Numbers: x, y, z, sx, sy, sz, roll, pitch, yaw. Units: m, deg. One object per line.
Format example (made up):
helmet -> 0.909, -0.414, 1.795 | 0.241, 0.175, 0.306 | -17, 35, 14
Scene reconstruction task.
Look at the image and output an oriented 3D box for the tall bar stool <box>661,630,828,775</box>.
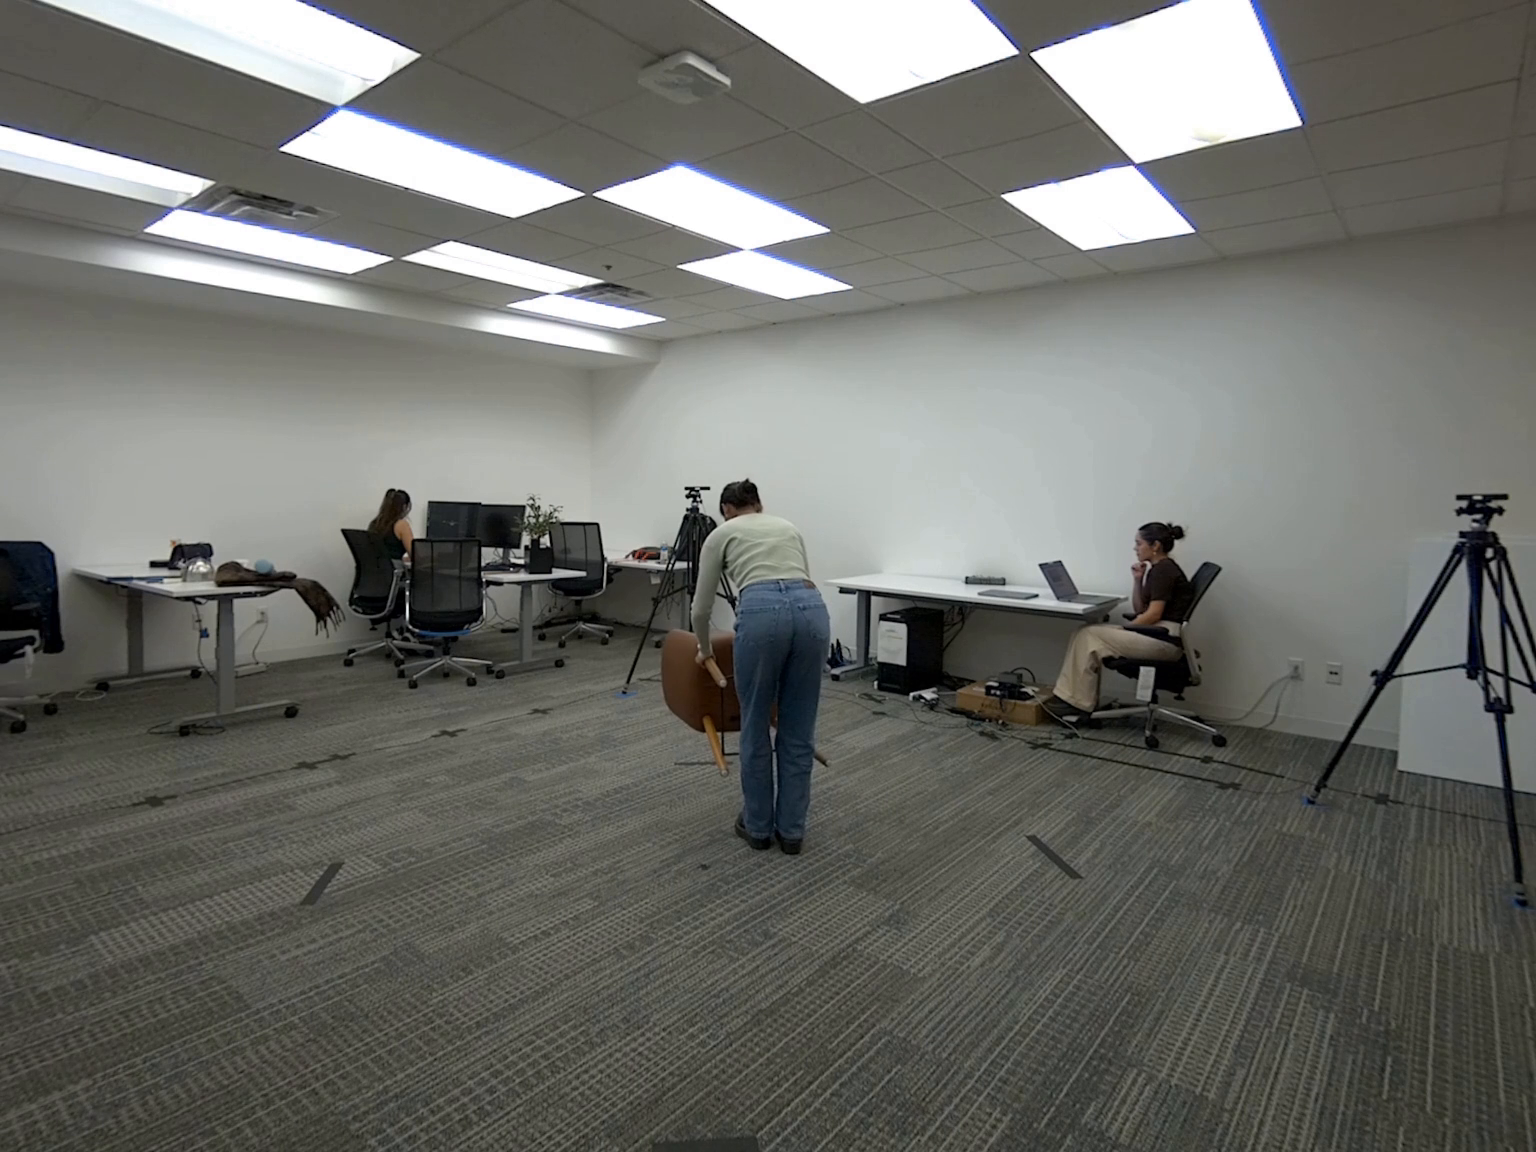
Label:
tall bar stool -> -0.133, 0.496, 3.650 | 0.459, 0.453, 0.912 | -3, 9, -19
